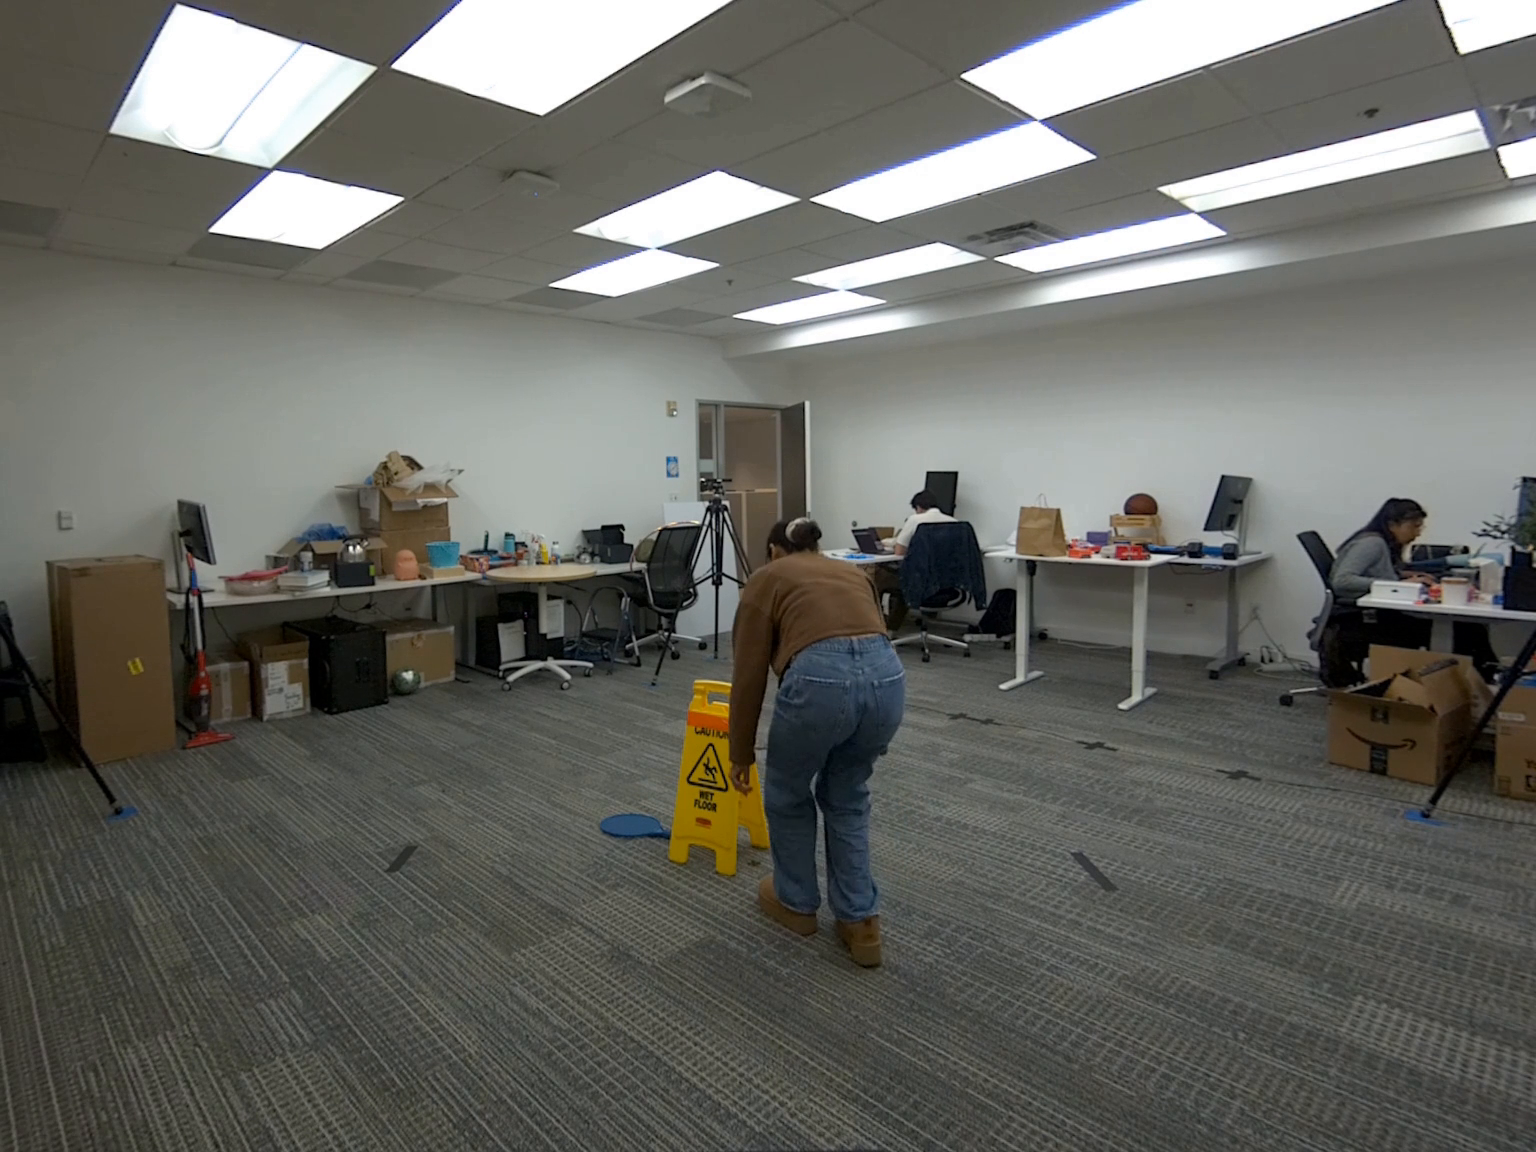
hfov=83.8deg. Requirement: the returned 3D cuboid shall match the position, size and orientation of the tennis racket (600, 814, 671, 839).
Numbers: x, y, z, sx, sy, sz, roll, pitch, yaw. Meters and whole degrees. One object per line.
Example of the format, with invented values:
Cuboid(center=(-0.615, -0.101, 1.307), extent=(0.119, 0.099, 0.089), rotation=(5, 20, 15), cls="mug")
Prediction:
Cuboid(center=(-0.479, 1.004, 3.396), extent=(0.445, 0.031, 0.209), rotation=(2, 6, 34), cls="tennis racket")
